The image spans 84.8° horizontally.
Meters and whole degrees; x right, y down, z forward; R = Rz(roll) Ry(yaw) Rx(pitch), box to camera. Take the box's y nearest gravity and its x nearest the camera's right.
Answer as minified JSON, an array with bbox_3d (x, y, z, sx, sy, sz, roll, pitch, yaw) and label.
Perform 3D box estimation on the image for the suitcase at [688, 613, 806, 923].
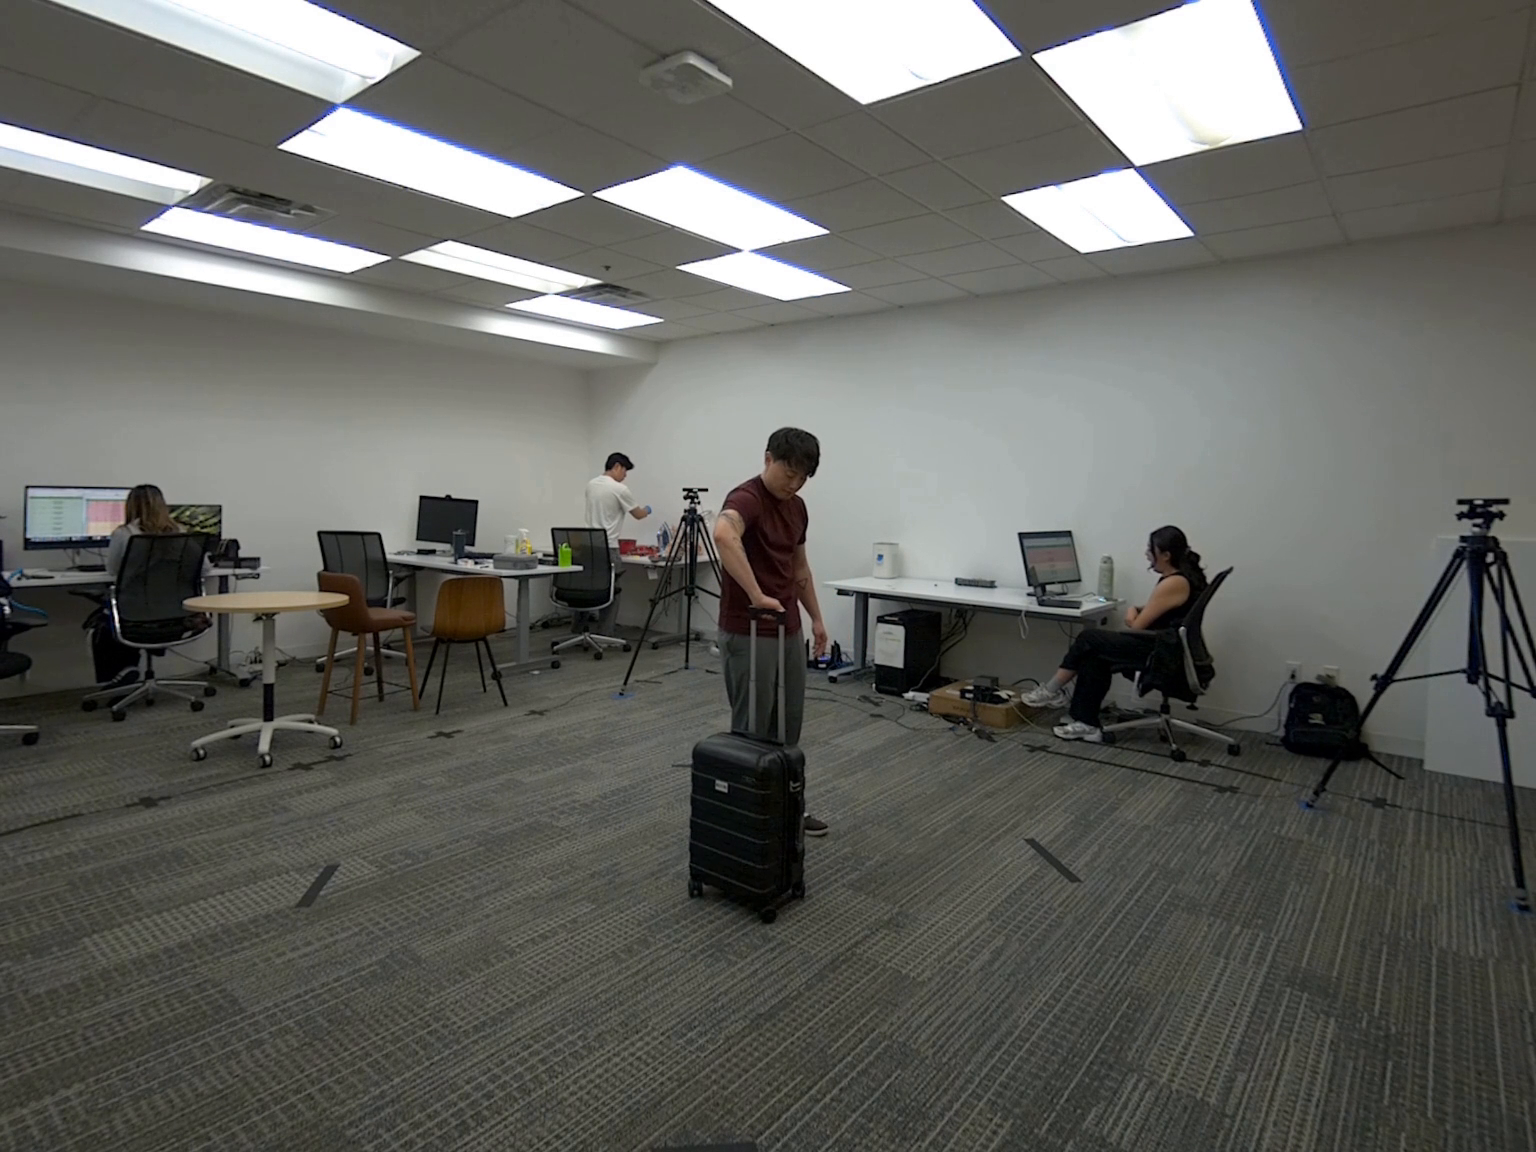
[{"bbox_3d":[-0.078,0.619,2.879,0.397,0.974,0.250,5,6,38],"label":"suitcase"}]
